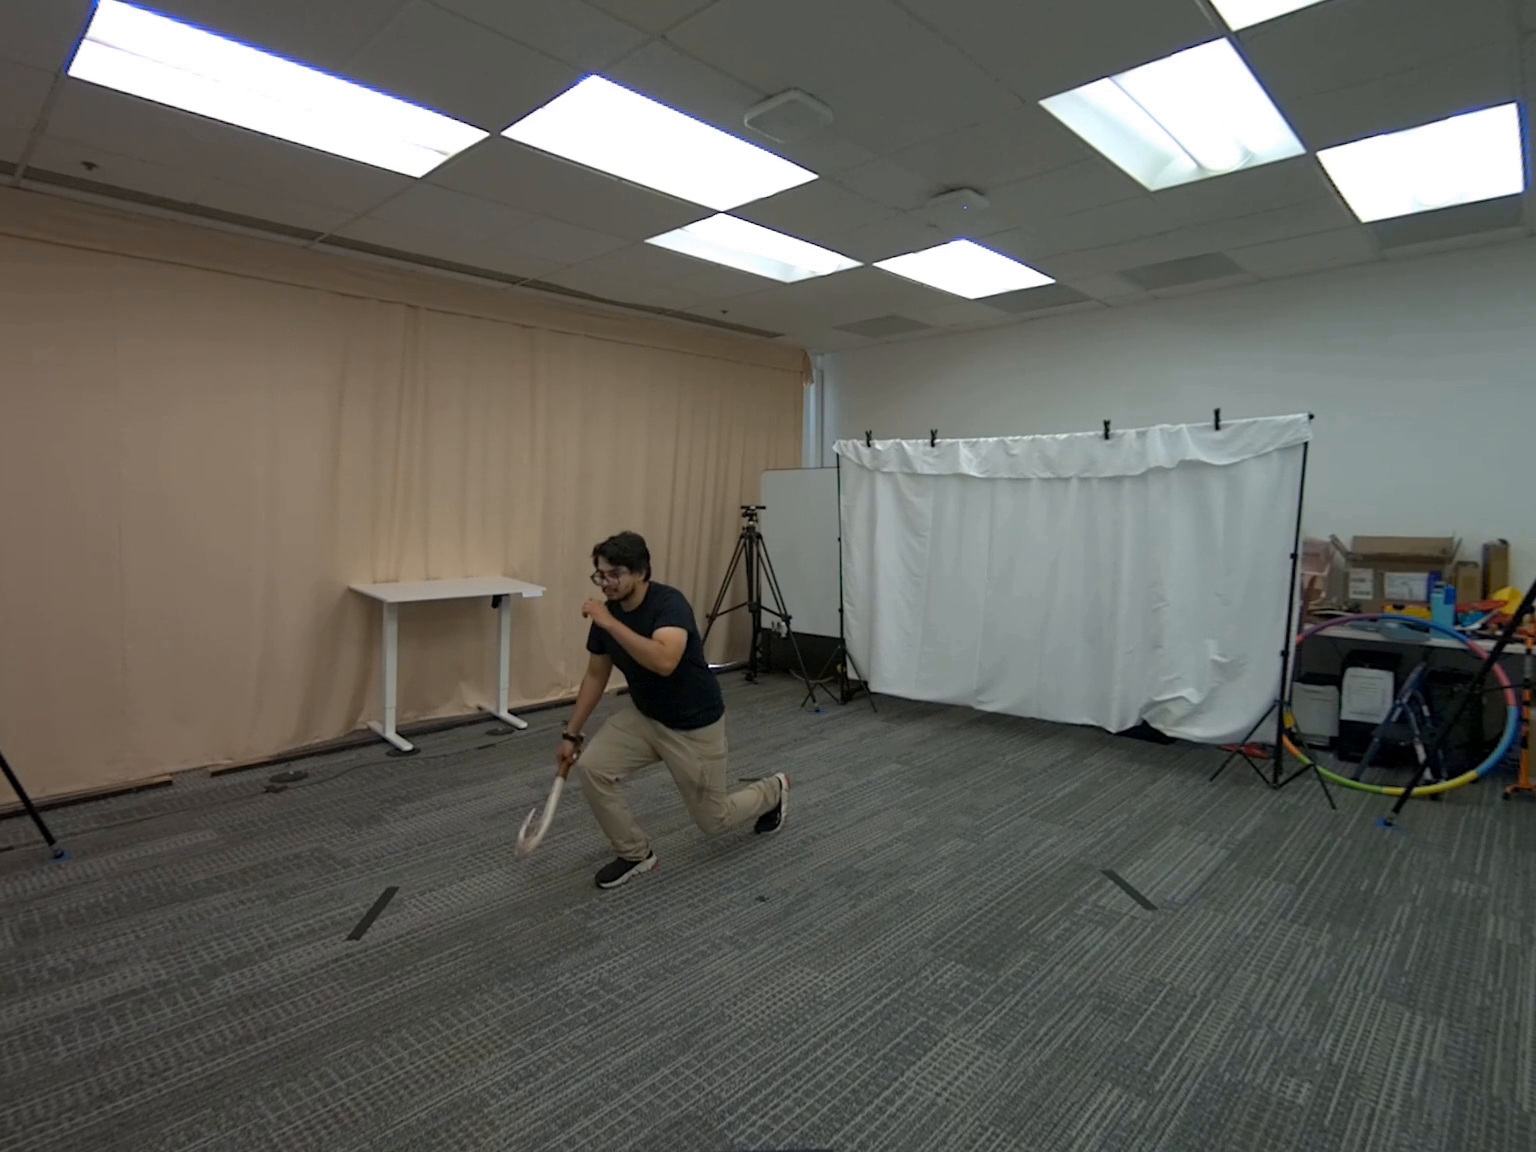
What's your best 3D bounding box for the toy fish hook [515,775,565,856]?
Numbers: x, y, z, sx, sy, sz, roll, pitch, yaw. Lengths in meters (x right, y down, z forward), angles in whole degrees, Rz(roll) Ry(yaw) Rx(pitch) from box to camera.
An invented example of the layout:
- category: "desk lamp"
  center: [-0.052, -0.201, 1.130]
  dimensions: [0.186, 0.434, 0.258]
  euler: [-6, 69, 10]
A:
- category: "toy fish hook"
  center: [-0.854, 0.843, 3.293]
  dimensions: [0.047, 0.509, 0.229]
  euler: [40, -40, -25]
